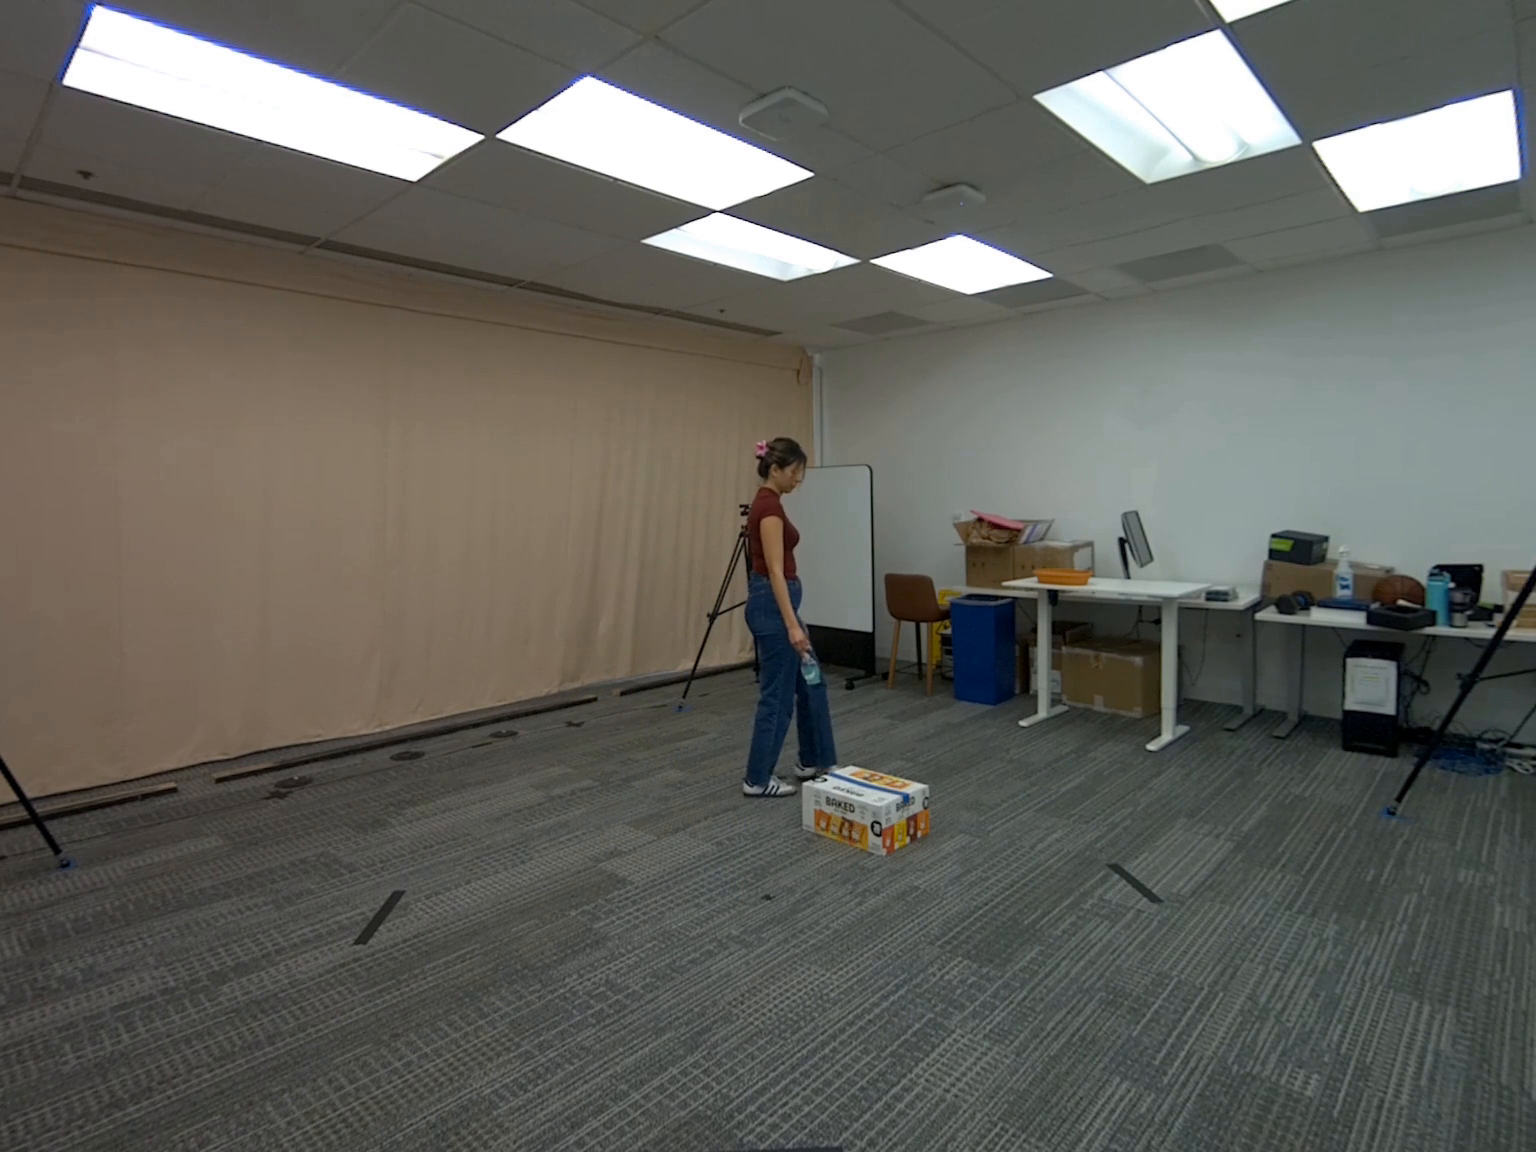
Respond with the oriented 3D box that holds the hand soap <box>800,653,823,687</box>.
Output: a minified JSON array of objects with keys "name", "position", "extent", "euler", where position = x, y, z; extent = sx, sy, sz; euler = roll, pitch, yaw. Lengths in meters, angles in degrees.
[{"name":"hand soap","position":[0.176,0.399,3.744],"extent":[0.087,0.168,0.042],"euler":[-16,-2,37]}]
